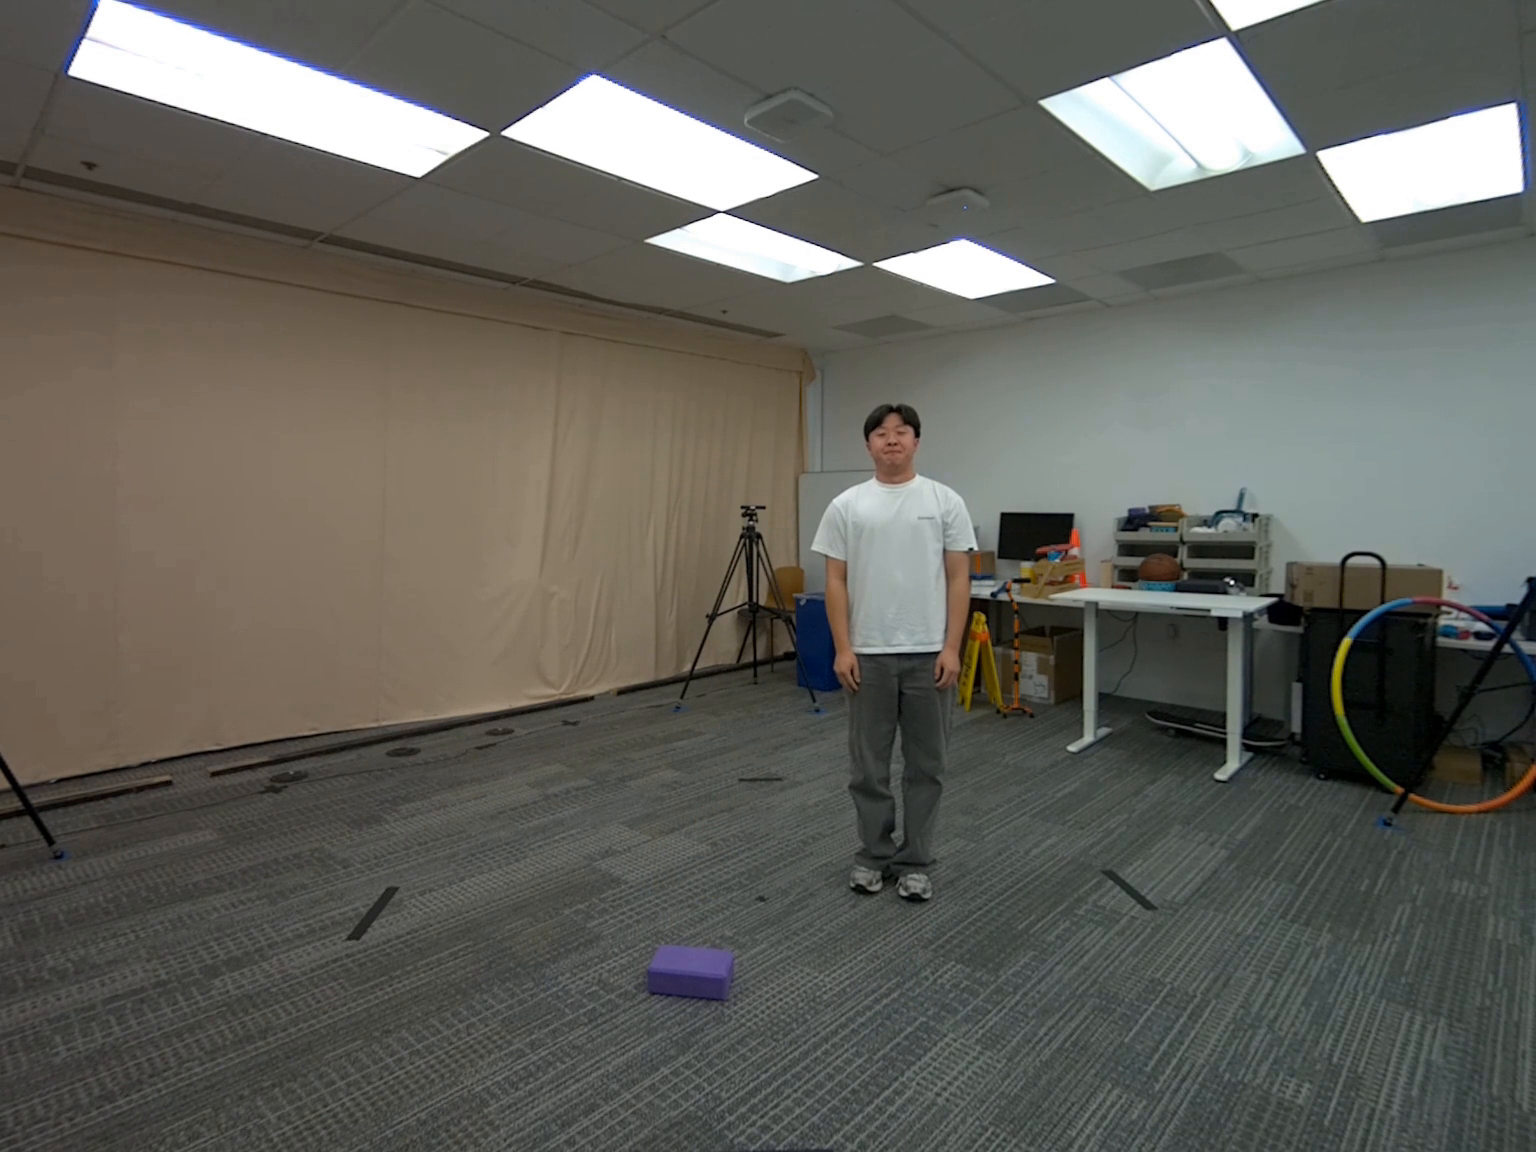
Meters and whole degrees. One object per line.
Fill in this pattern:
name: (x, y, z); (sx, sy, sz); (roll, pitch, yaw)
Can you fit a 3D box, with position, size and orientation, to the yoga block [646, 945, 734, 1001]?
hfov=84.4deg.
yoga block: (-0.214, 1.154, 2.445); (0.232, 0.076, 0.147); (1, 3, 11)
